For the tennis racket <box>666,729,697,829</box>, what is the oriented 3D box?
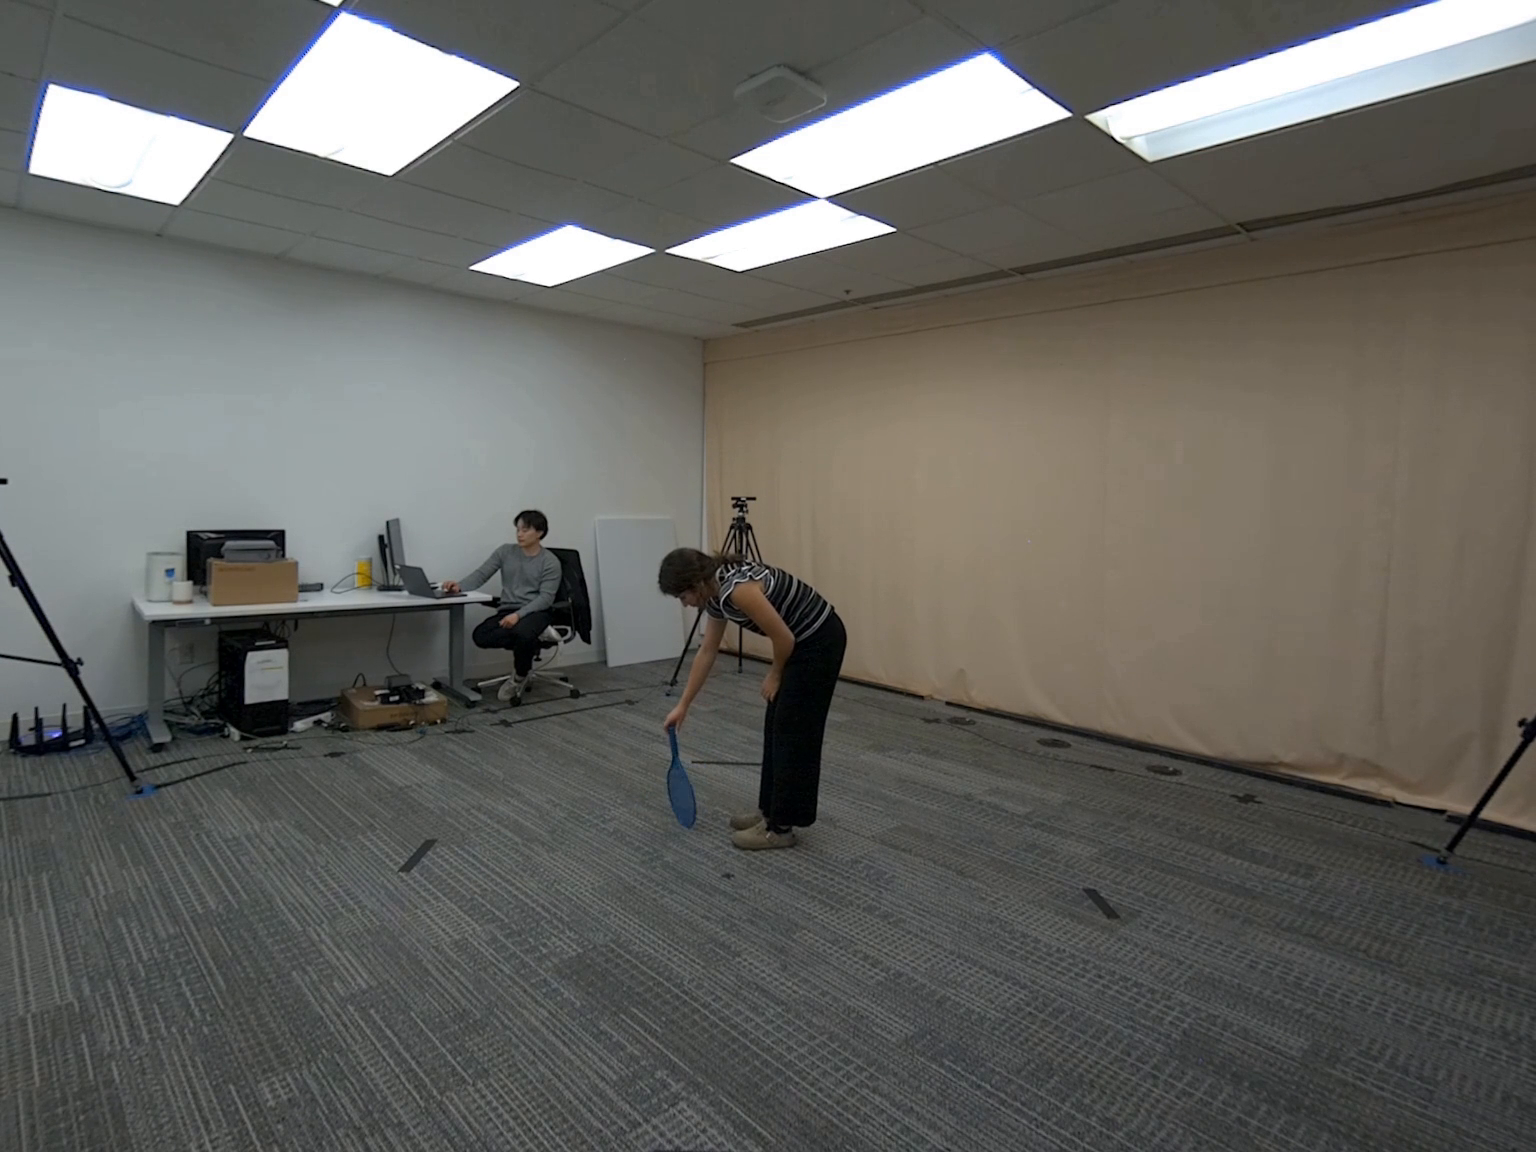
[{"bbox_3d":[-0.383,0.841,3.556,0.031,0.432,0.218,-9,1,-34],"label":"tennis racket"}]
